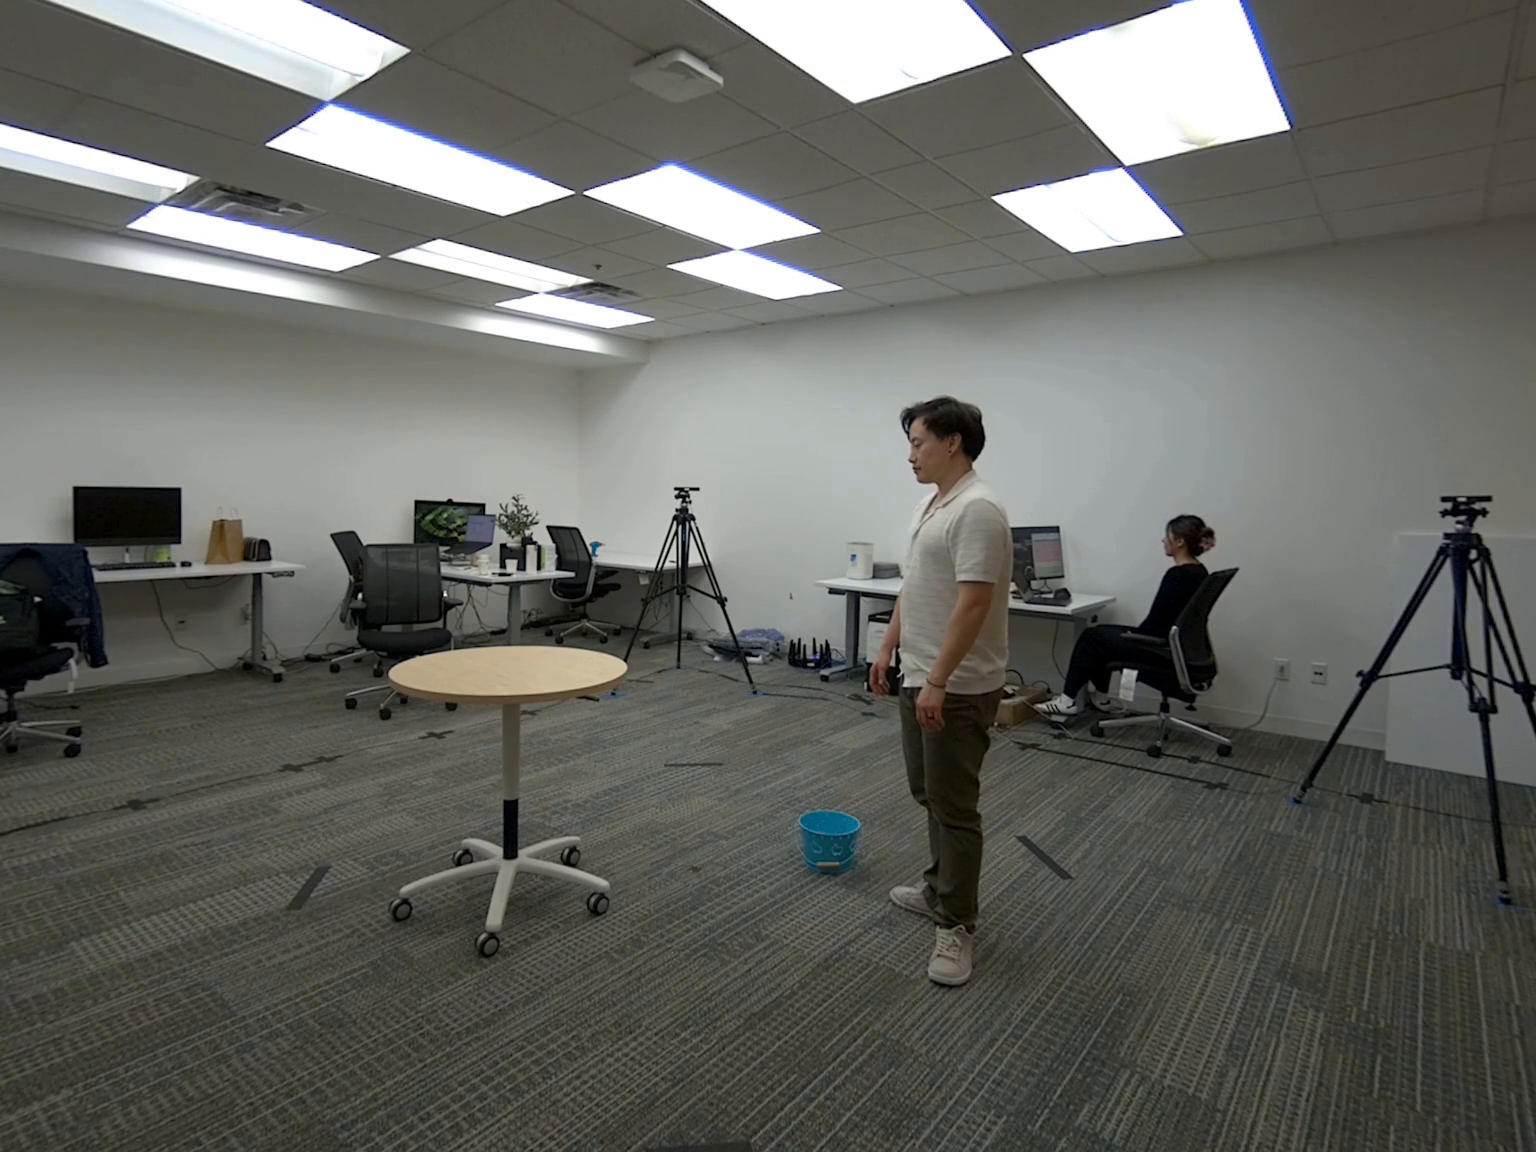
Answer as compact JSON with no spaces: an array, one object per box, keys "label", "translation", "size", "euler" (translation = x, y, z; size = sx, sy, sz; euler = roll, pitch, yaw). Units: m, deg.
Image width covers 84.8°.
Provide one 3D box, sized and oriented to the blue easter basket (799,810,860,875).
[{"label":"blue easter basket","translation":[0.214,0.990,3.181],"size":[0.243,0.155,0.245],"euler":[0,5,-2]}]
